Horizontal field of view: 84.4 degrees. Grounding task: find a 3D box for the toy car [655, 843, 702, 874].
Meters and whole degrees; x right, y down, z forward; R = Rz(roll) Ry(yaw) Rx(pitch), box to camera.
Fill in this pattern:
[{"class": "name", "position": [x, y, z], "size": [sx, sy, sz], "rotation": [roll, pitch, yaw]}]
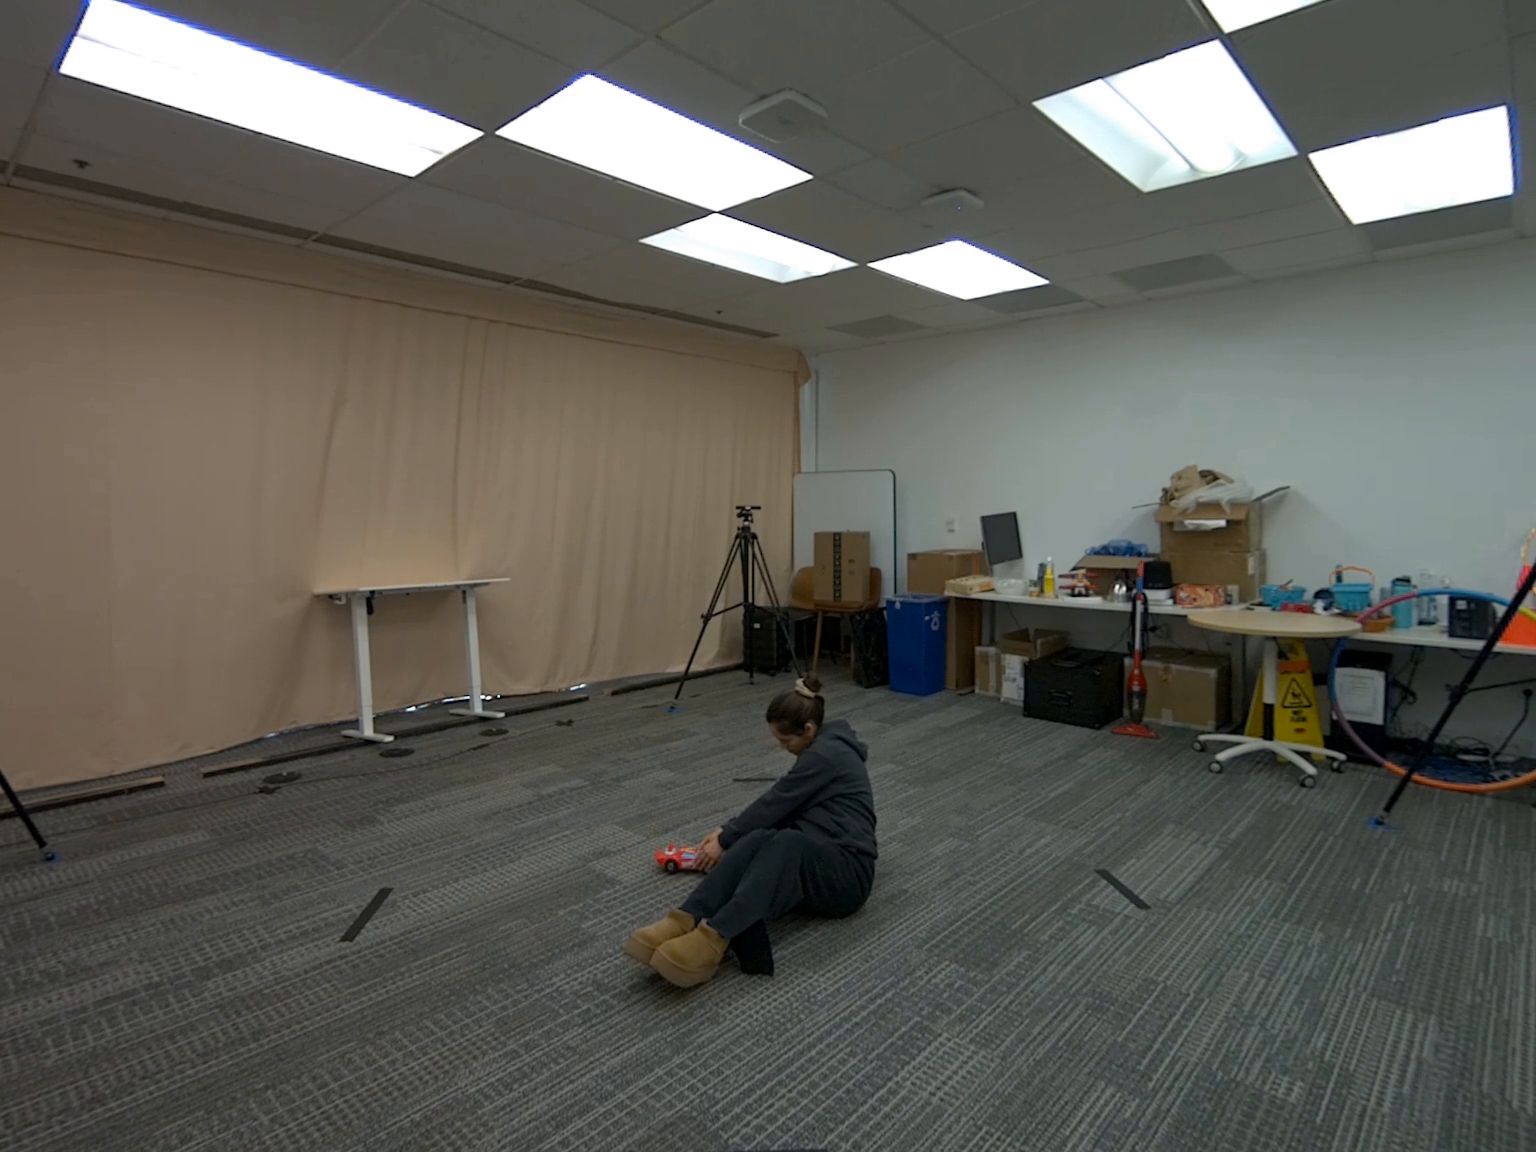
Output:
[{"class": "toy car", "position": [-0.294, 1.088, 3.228], "size": [0.257, 0.083, 0.129], "rotation": [11, 1, 8]}]
